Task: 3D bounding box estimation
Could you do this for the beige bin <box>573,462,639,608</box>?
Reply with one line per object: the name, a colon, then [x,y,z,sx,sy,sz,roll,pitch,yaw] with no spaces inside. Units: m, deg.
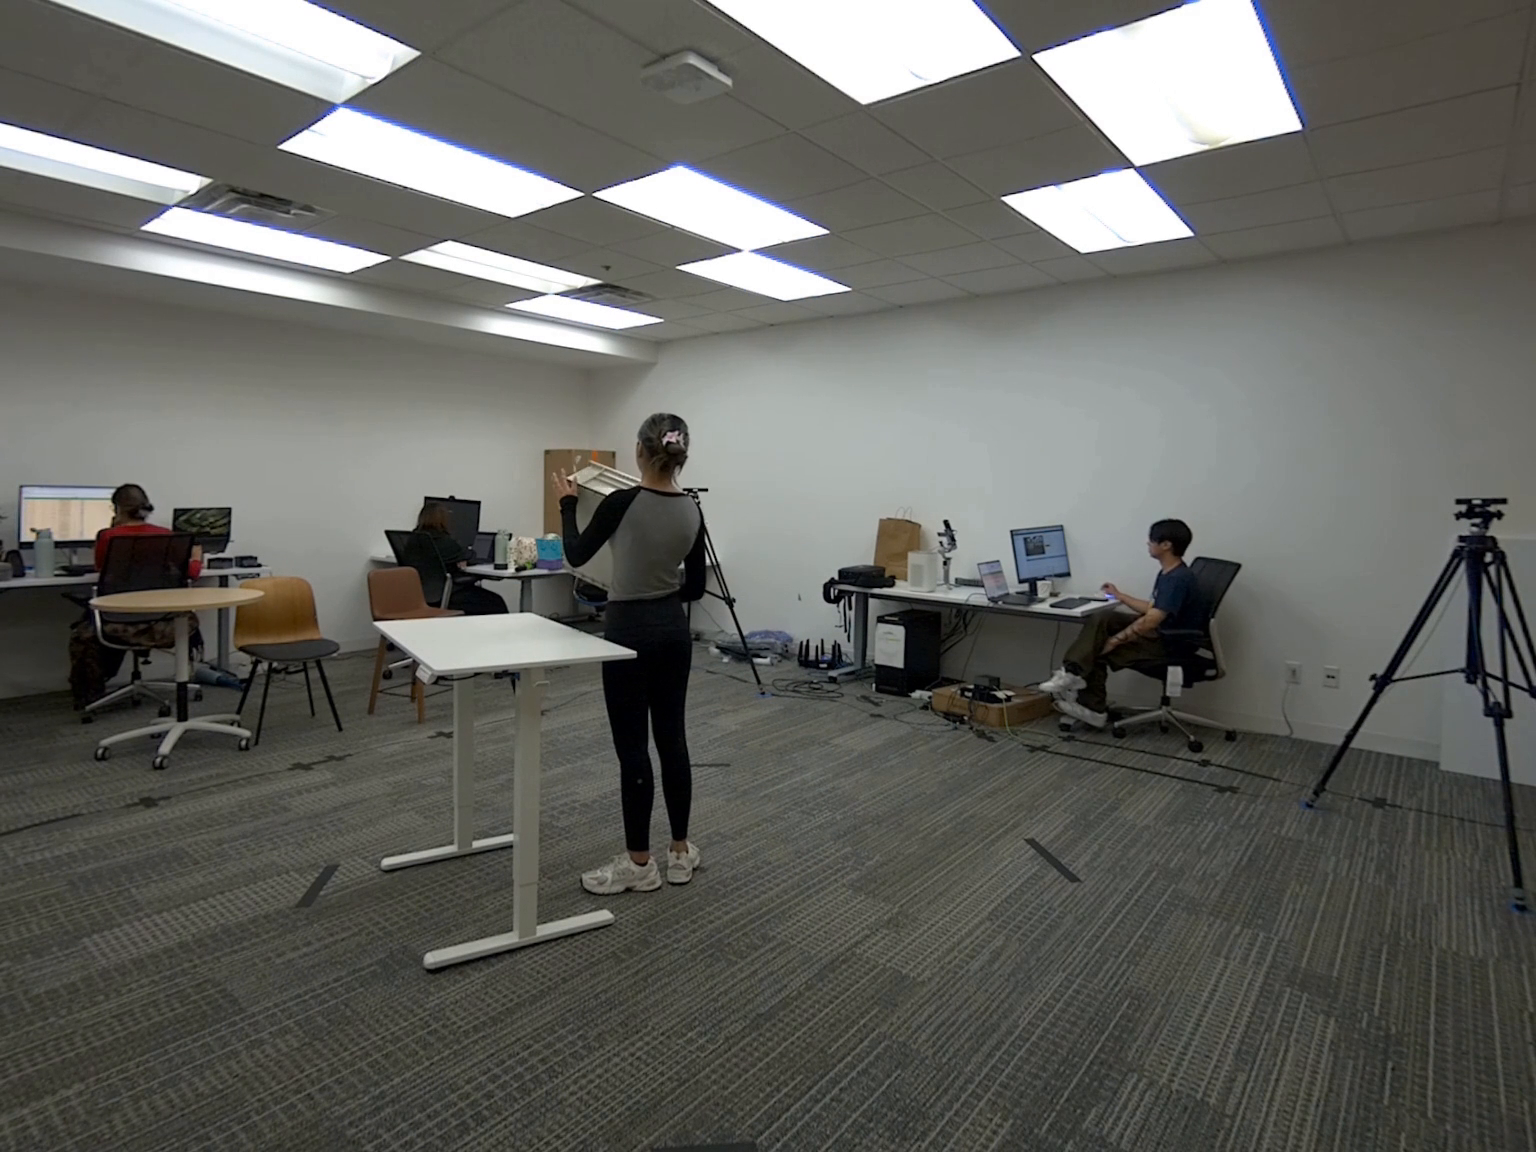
beige bin: [-0.620,-0.174,3.289,0.389,0.413,0.187,23,34,23]
